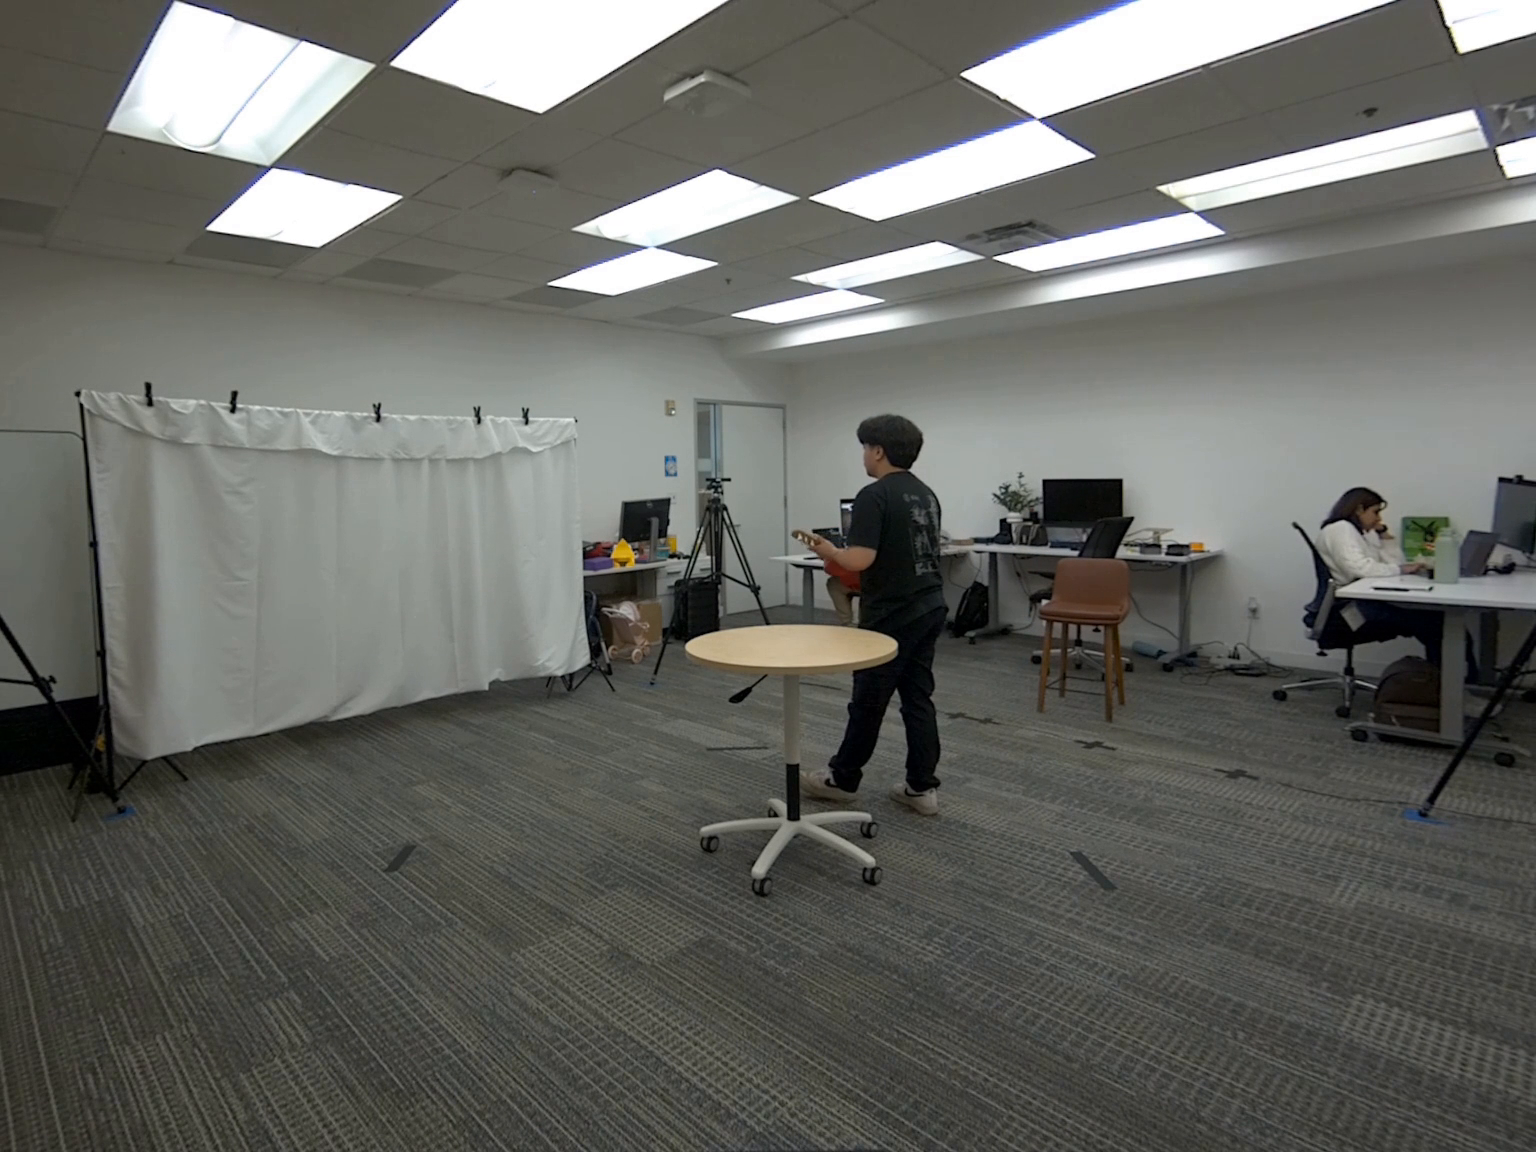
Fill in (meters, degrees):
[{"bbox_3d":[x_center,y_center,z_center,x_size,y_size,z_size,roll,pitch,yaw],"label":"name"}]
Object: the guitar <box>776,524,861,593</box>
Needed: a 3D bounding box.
[{"bbox_3d":[0.291,-0.071,3.749,0.482,0.072,0.194,21,-40,-30],"label":"guitar"}]
